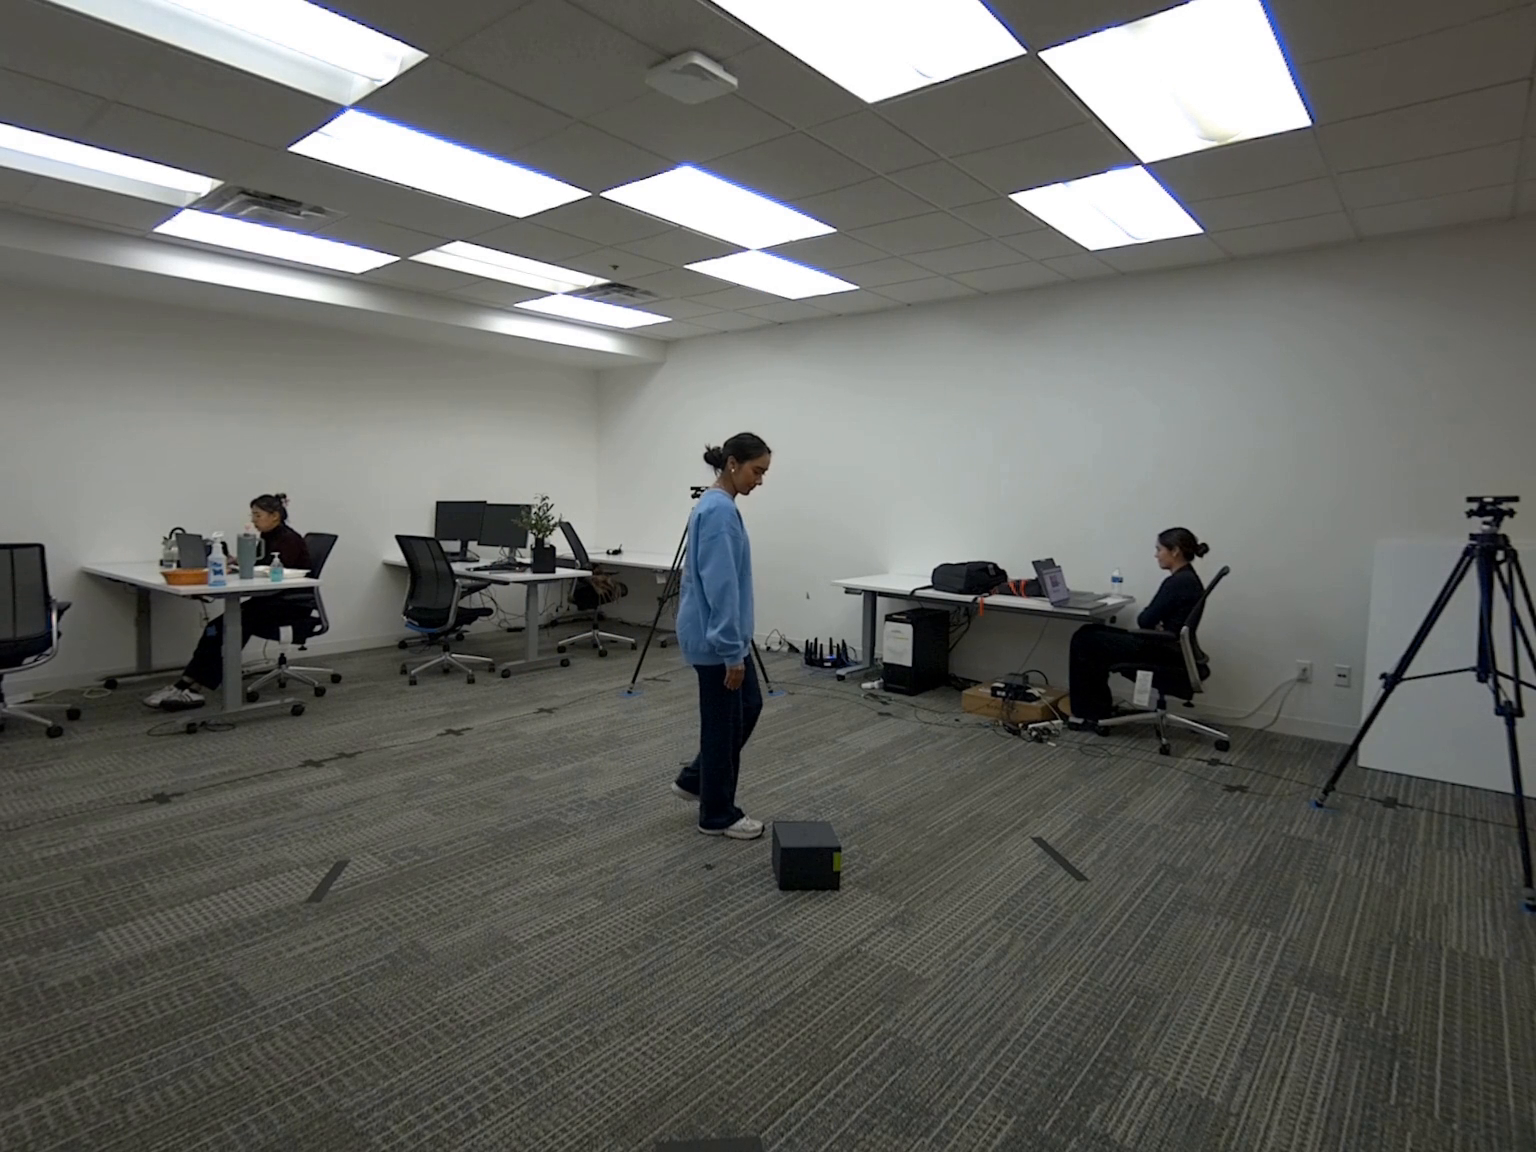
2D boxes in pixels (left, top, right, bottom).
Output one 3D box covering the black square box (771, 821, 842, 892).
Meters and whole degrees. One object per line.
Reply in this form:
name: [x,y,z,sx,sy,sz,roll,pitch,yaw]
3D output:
black square box: [0.129,0.990,3.050,0.216,0.155,0.230,1,5,-6]
